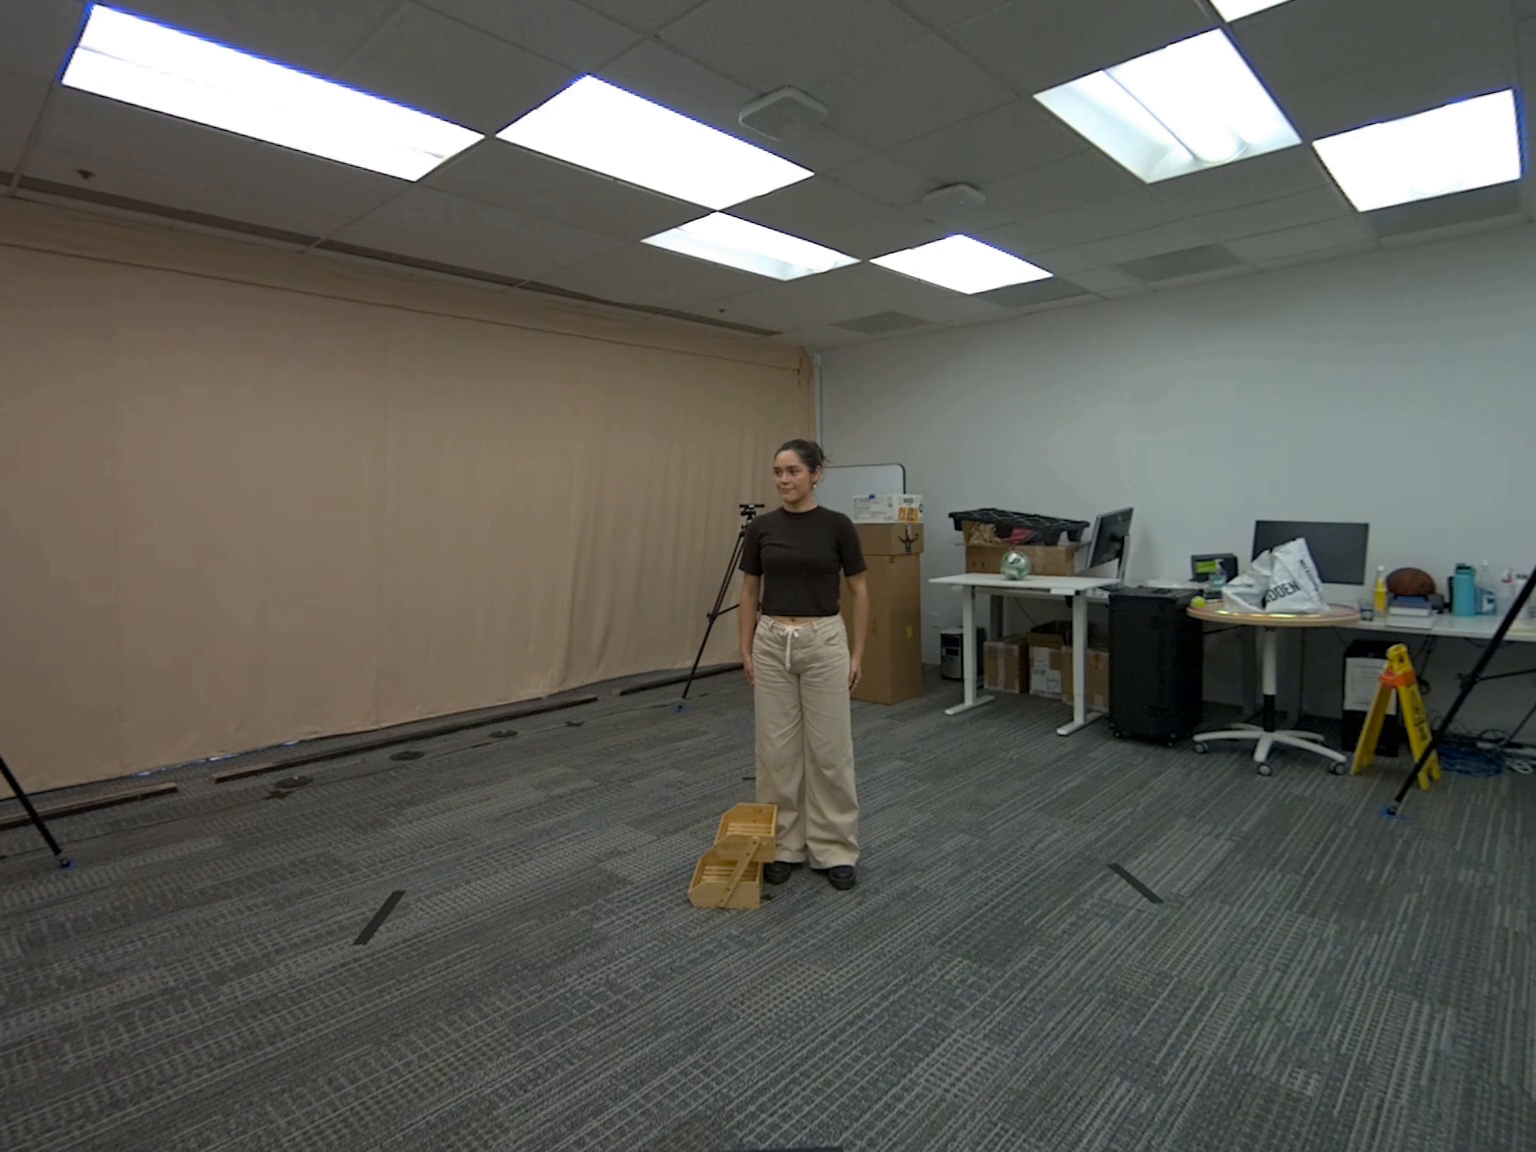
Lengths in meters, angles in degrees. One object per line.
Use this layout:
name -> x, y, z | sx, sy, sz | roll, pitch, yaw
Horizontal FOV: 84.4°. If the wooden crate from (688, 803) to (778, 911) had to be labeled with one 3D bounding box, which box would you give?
wooden crate -> -0.123, 1.001, 3.047 | 0.304, 0.273, 0.323 | 1, 4, 5
